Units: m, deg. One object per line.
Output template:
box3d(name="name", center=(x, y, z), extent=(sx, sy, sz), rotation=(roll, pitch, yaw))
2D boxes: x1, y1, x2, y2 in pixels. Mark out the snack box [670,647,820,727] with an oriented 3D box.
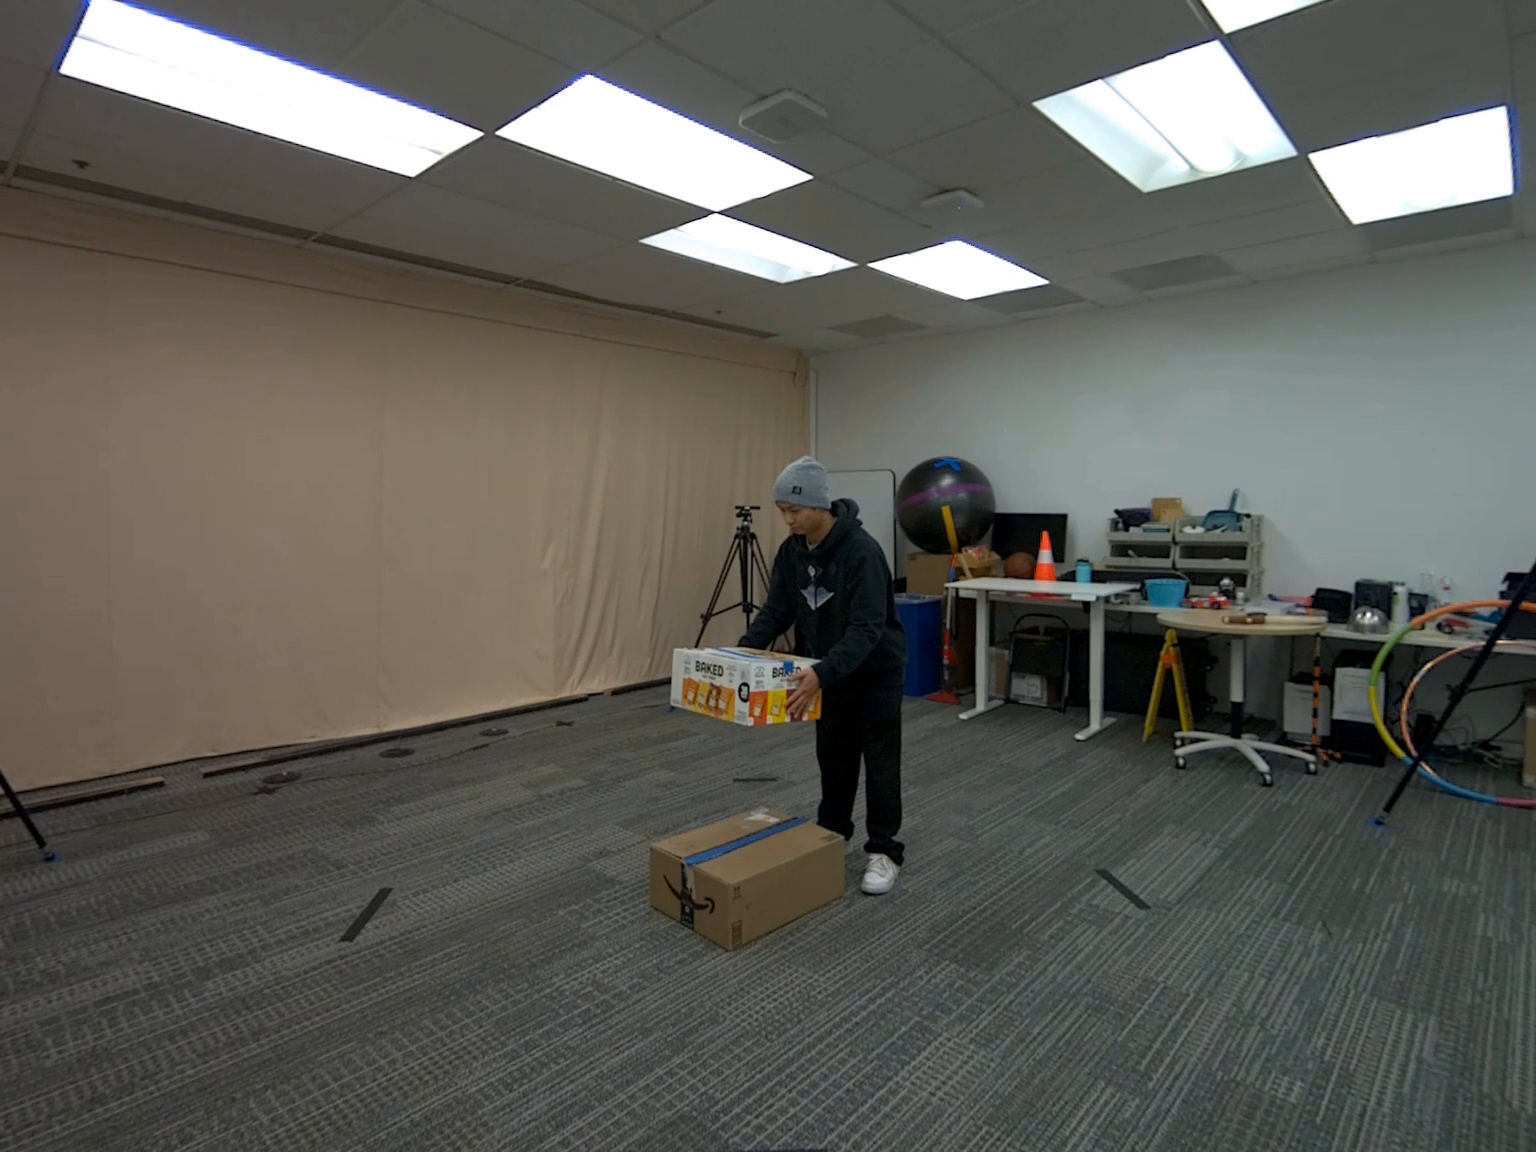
box3d(name="snack box", center=(-0.077, 0.376, 2.931), extent=(0.329, 0.206, 0.418), rotation=(4, 0, -42))
